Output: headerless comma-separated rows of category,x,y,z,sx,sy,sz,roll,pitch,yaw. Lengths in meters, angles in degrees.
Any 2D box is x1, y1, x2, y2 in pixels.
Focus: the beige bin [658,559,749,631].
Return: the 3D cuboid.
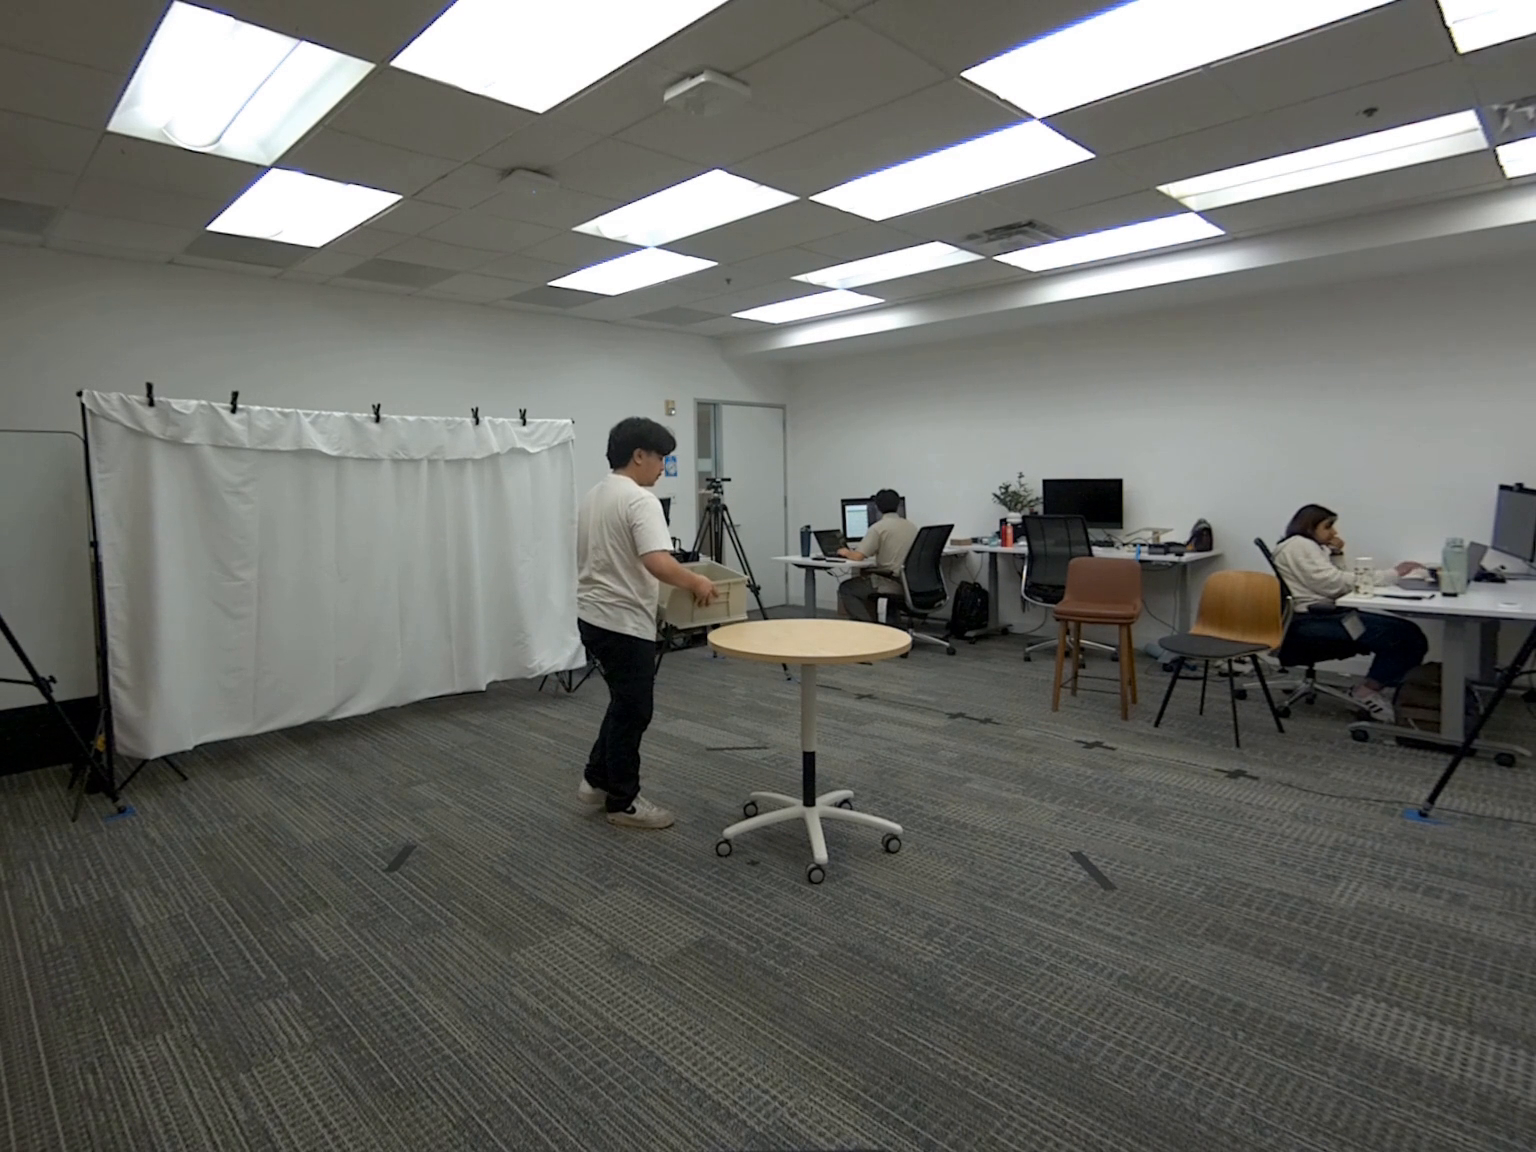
beige bin,-0.337,0.076,3.700,0.370,0.187,0.435,-6,12,-25
